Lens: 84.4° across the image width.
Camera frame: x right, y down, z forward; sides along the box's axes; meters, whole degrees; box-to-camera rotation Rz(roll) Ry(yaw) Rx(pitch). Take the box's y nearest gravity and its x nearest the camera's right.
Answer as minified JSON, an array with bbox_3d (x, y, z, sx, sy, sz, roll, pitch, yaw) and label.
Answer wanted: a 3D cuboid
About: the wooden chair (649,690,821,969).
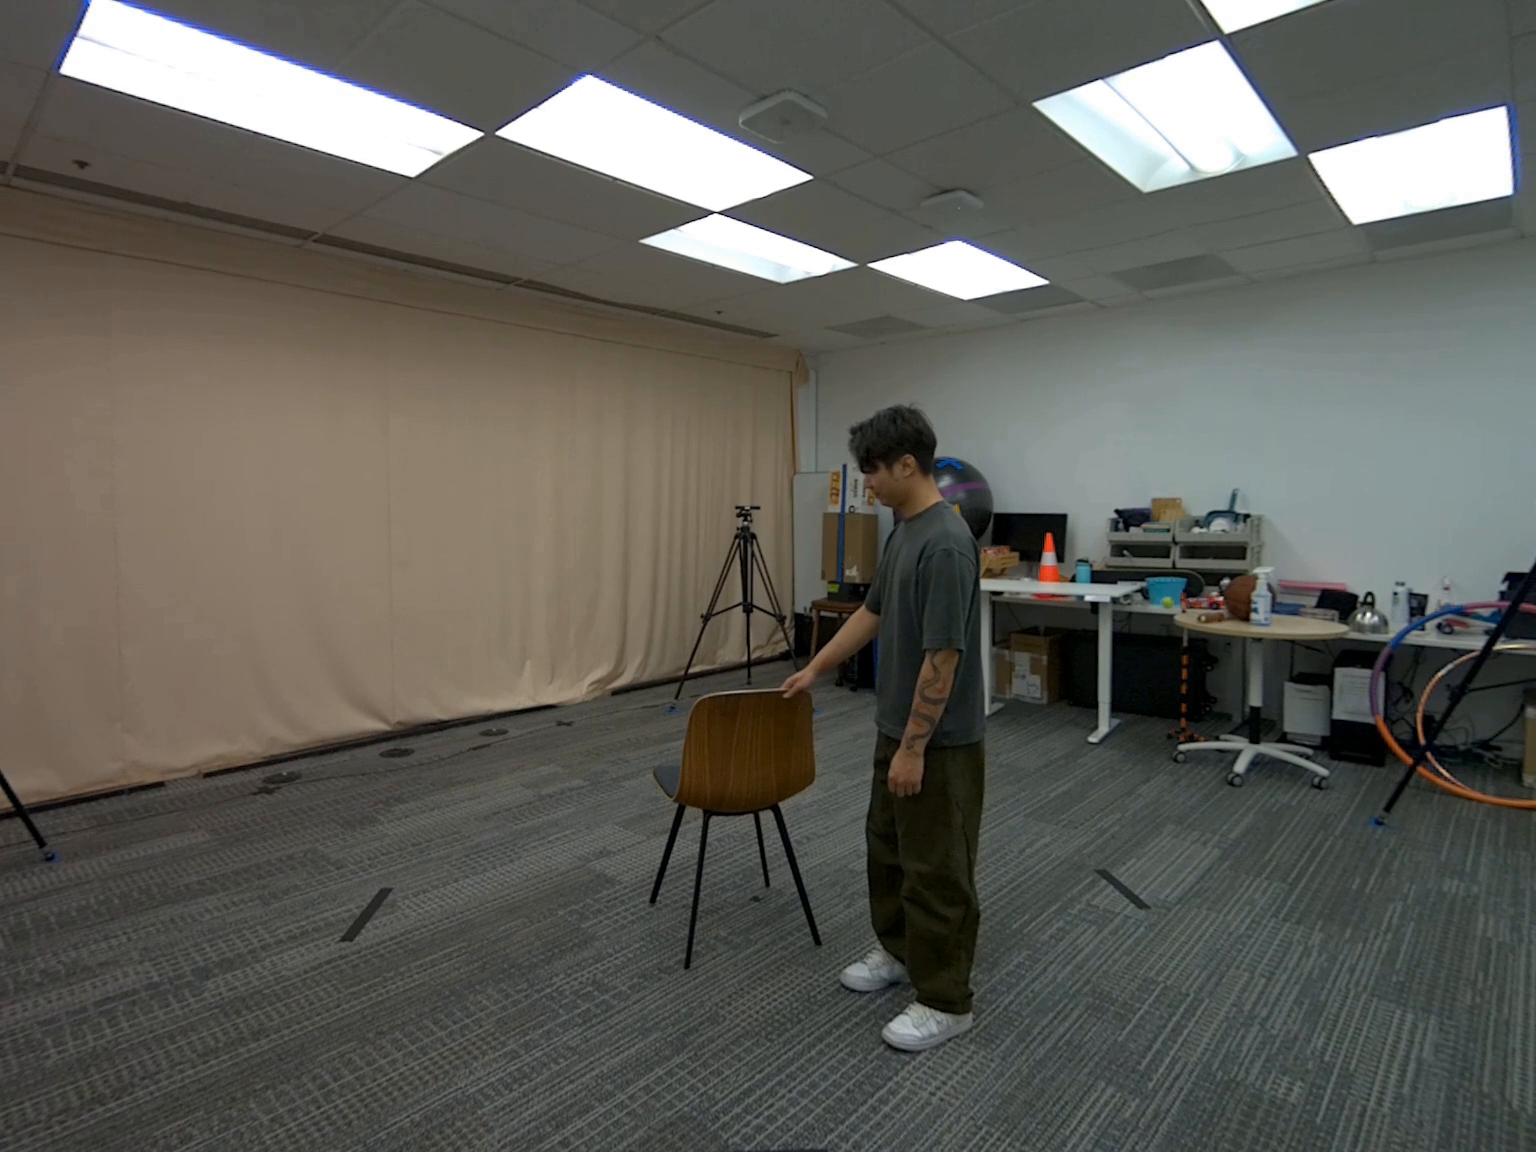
[{"bbox_3d":[-0.123,0.734,2.789,0.469,0.873,0.536,-2,8,-20],"label":"wooden chair"}]
